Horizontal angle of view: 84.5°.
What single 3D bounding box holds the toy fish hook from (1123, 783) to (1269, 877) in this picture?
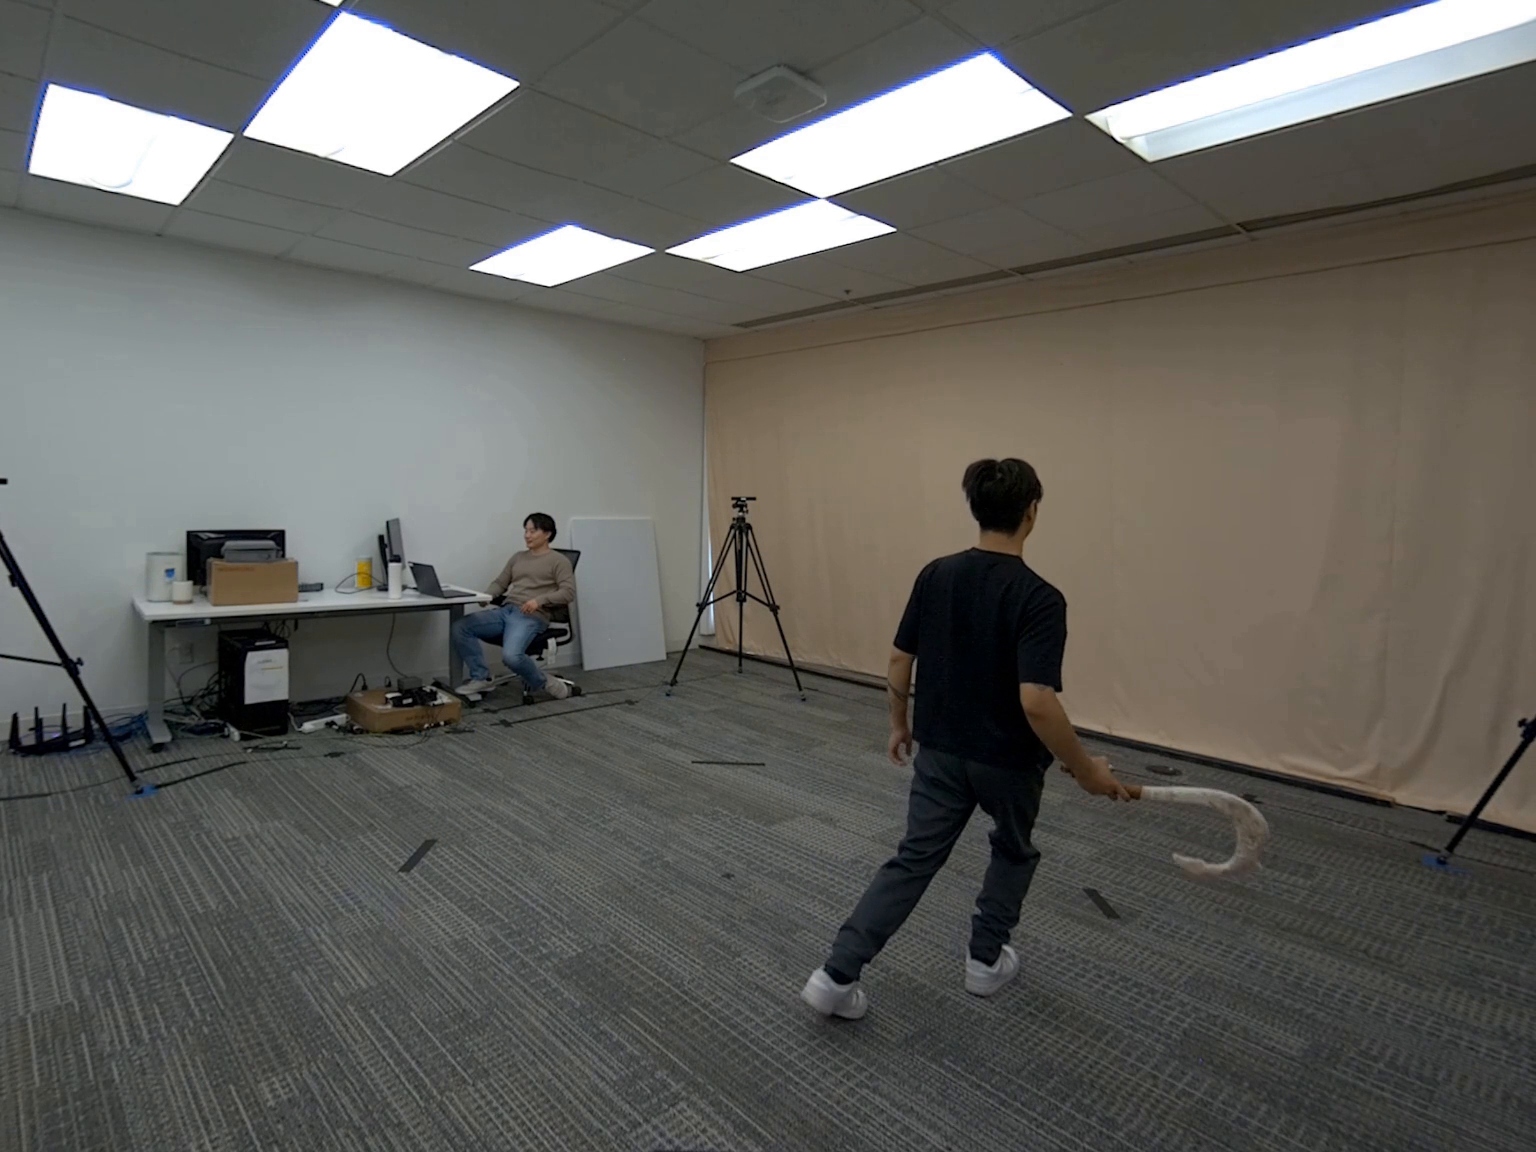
[{"bbox_3d":[1.003,0.609,2.221,0.515,0.225,0.047,14,-6,19],"label":"toy fish hook"}]
